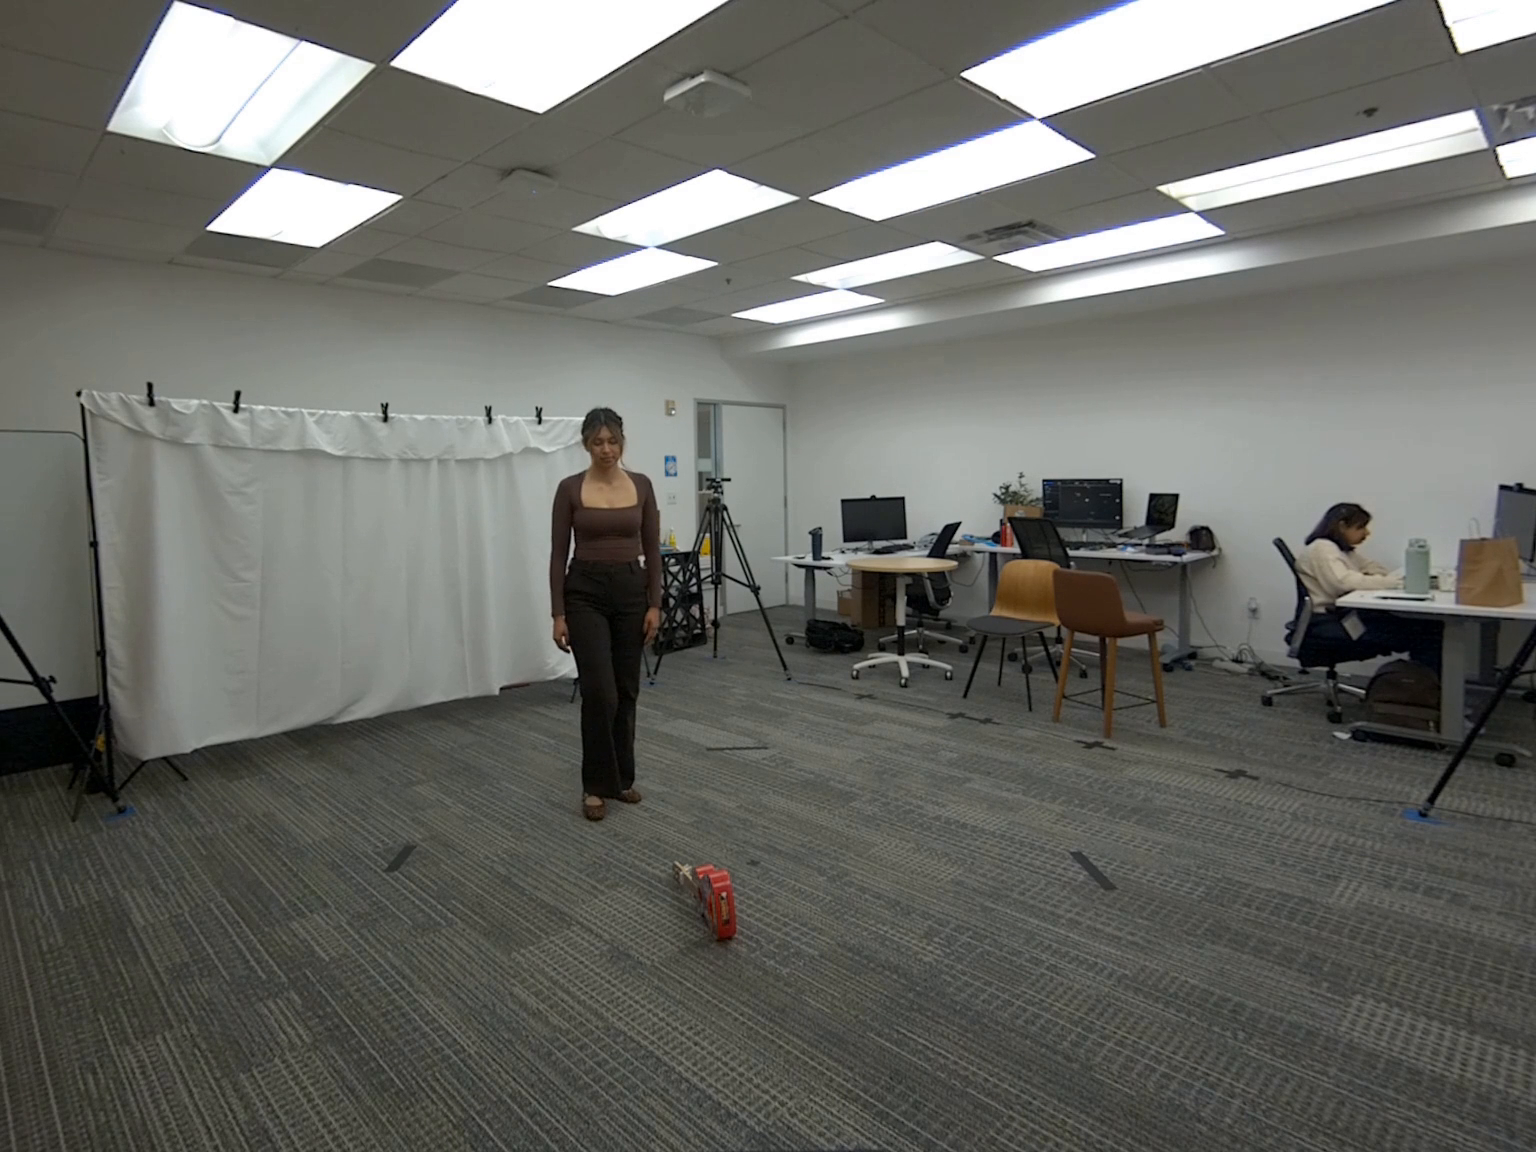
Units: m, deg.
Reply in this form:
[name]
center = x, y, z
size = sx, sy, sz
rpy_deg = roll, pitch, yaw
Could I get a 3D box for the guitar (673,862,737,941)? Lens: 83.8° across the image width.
[guitar]
center = -0.218, 0.988, 2.785
size = 0.069, 0.192, 0.509
rpy_deg = -6, 7, -21
